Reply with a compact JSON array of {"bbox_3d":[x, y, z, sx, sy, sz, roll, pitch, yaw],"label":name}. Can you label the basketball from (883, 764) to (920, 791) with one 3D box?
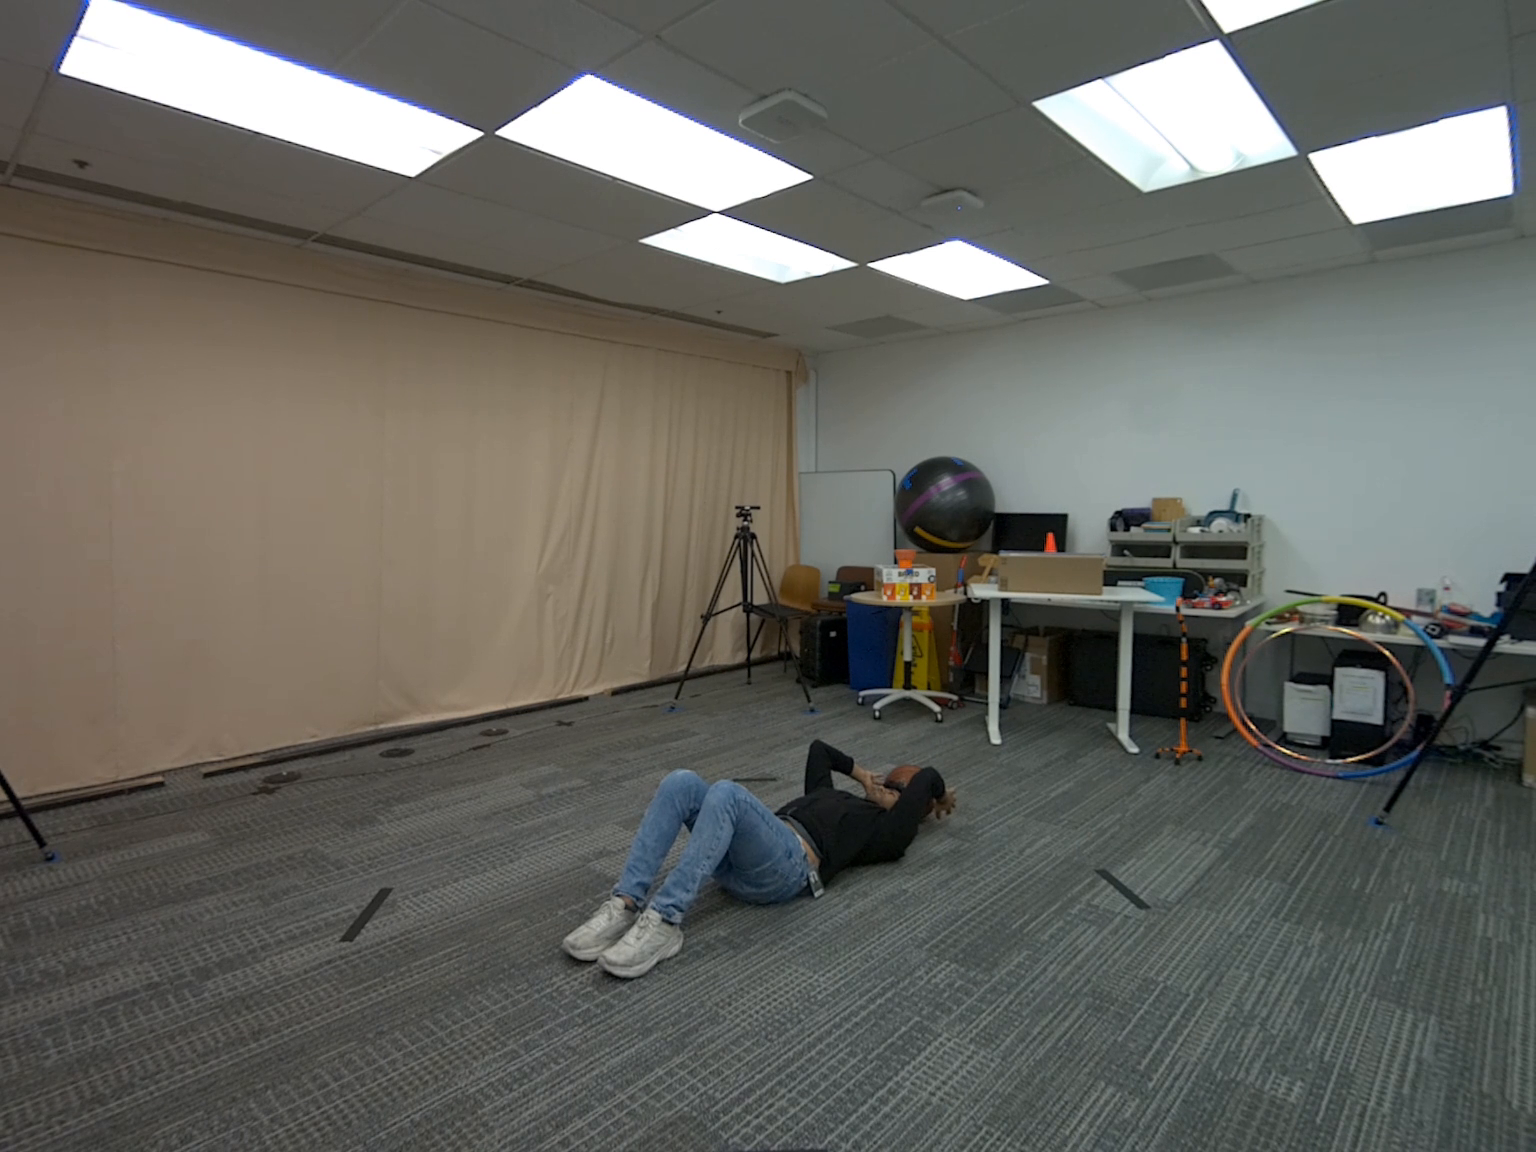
[{"bbox_3d":[0.632,0.961,3.739,0.236,0.235,0.237,0,4,-2],"label":"basketball"}]
